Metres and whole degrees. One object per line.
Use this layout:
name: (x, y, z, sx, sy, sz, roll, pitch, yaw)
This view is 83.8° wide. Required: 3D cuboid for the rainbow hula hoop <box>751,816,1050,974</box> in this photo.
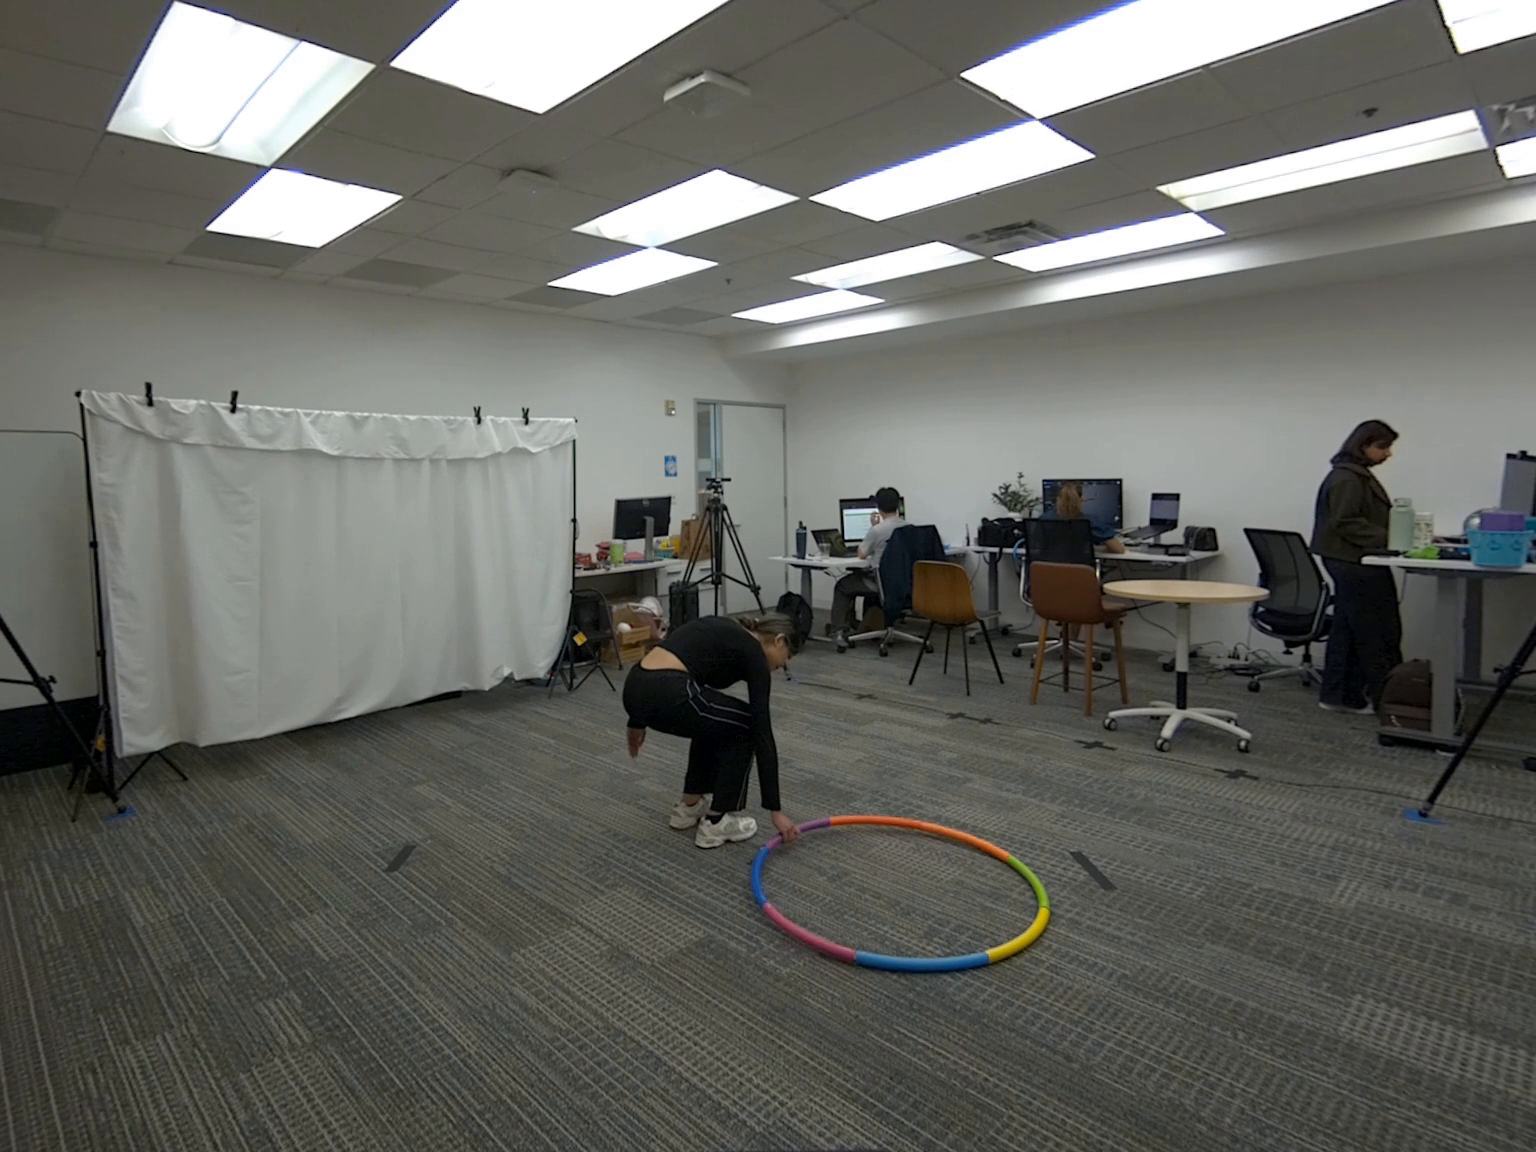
rainbow hula hoop: (0.429, 1.018, 2.884, 0.978, 0.035, 0.985, 0, 8, -2)
